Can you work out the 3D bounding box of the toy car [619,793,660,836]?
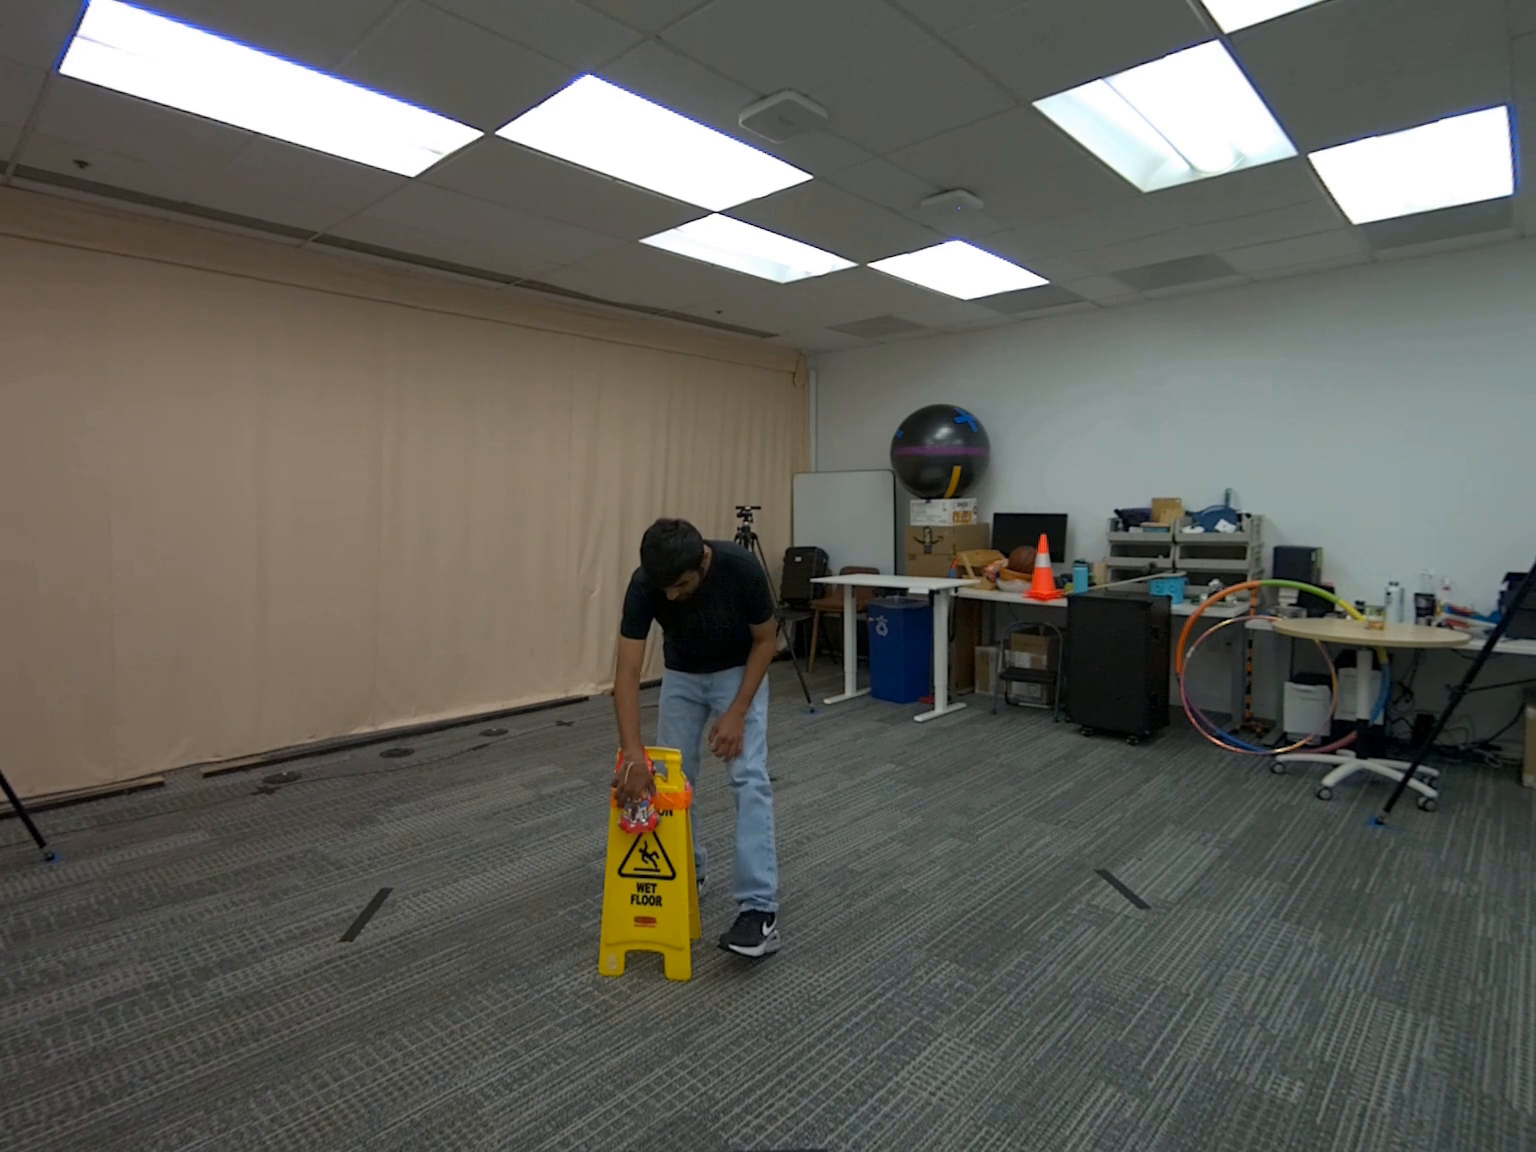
[{"bbox_3d":[-0.392,0.635,2.523,0.130,0.255,0.083,-7,-4,0],"label":"toy car"}]
